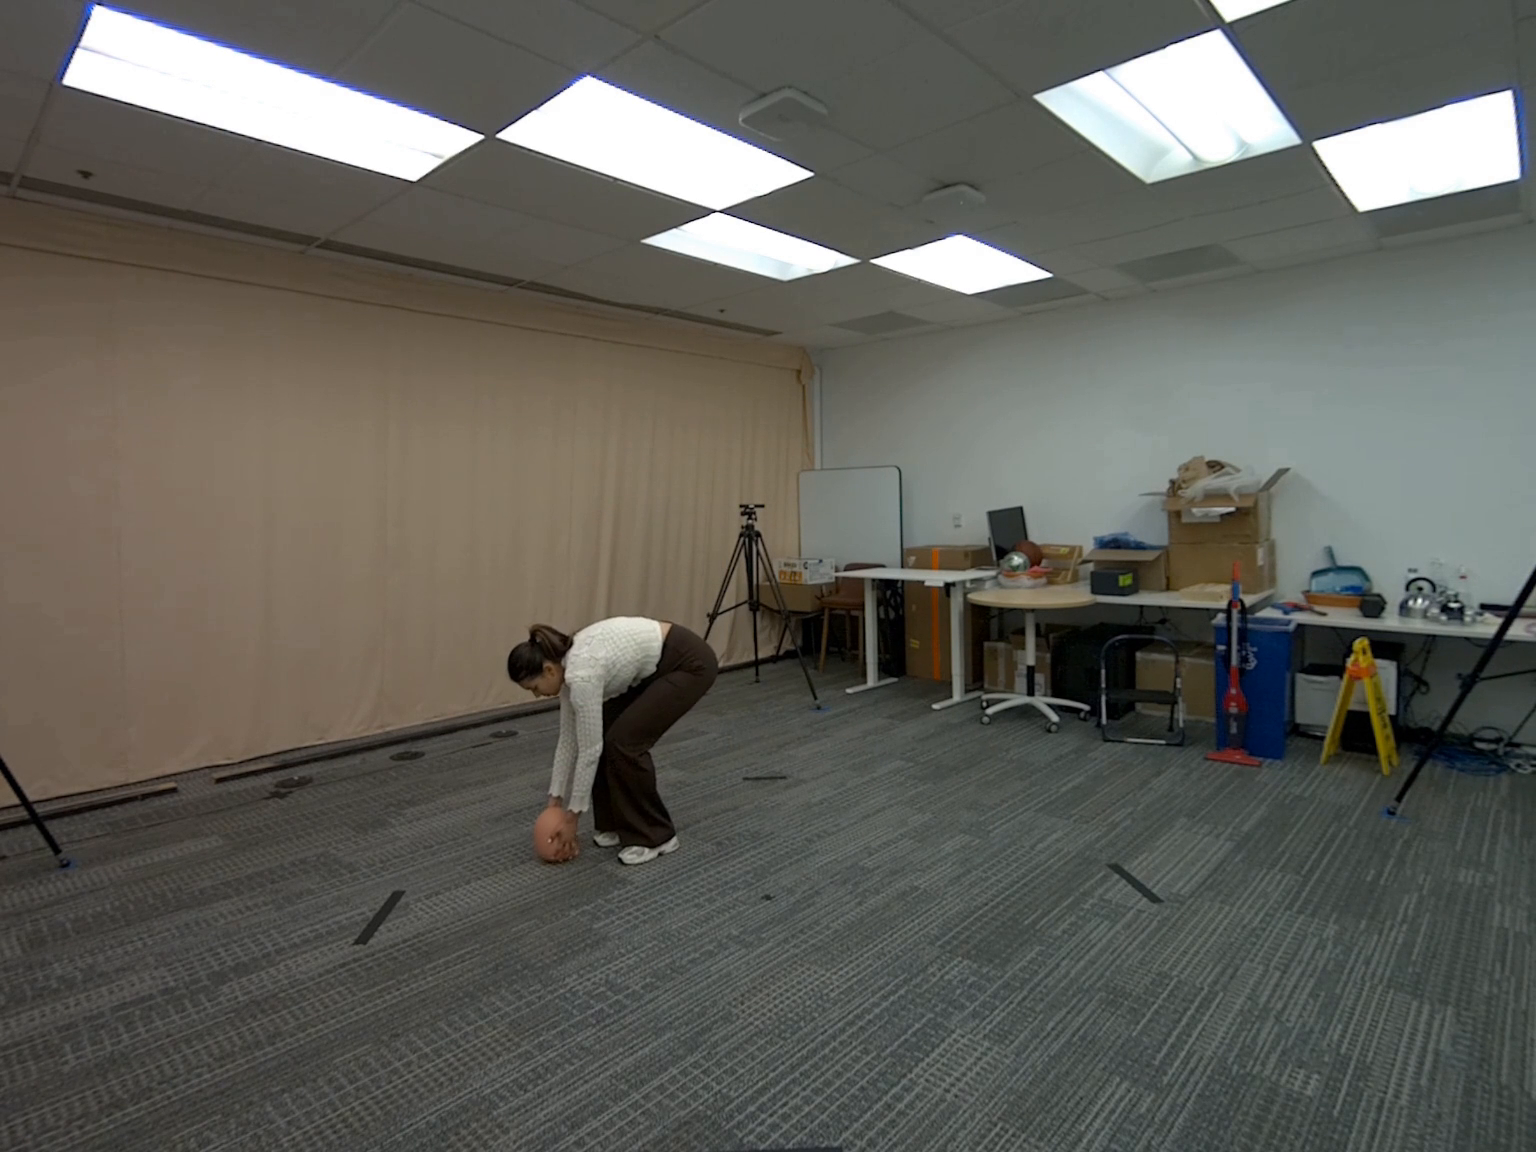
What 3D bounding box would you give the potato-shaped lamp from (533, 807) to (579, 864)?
[{"bbox_3d":[-0.838,1.002,3.343,0.166,0.197,0.170,1,7,-37],"label":"potato-shaped lamp"}]
